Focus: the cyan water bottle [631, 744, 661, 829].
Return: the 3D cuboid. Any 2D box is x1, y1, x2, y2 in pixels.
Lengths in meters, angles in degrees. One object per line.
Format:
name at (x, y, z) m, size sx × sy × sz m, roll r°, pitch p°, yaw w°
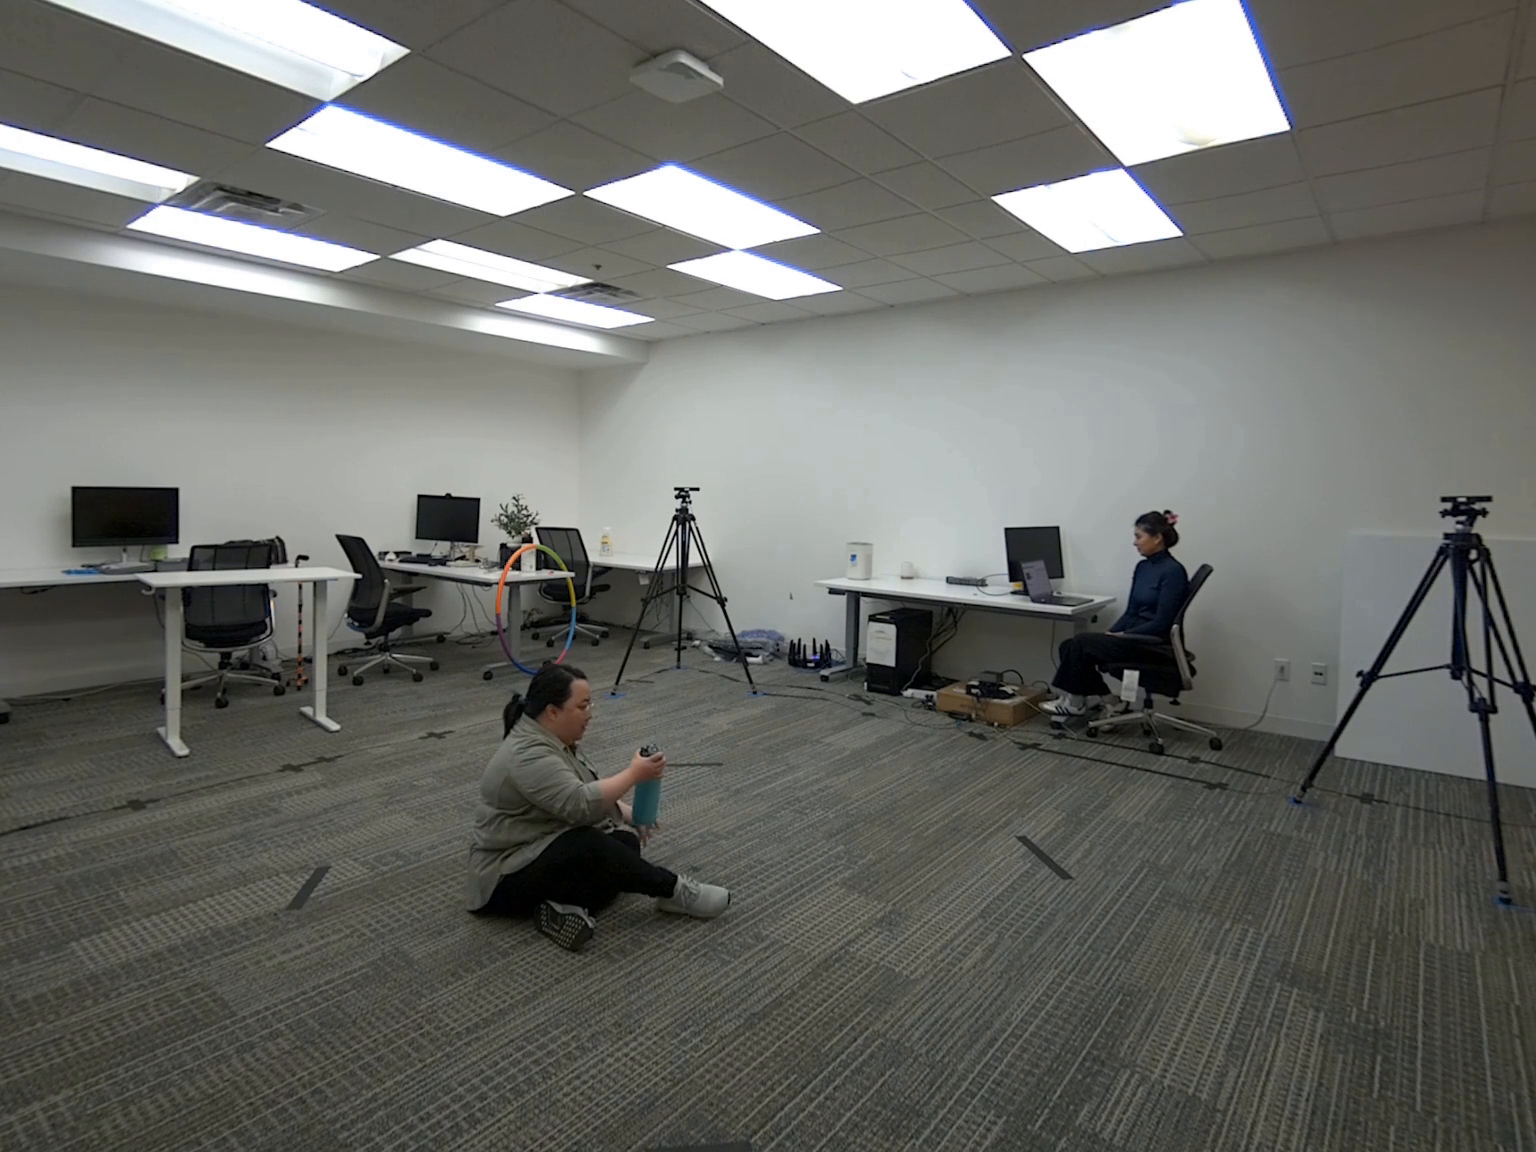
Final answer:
cyan water bottle at (-0.417, 0.714, 2.886) m, size 0.092 × 0.280 × 0.094 m, roll 7°, pitch 16°, yaw -4°
